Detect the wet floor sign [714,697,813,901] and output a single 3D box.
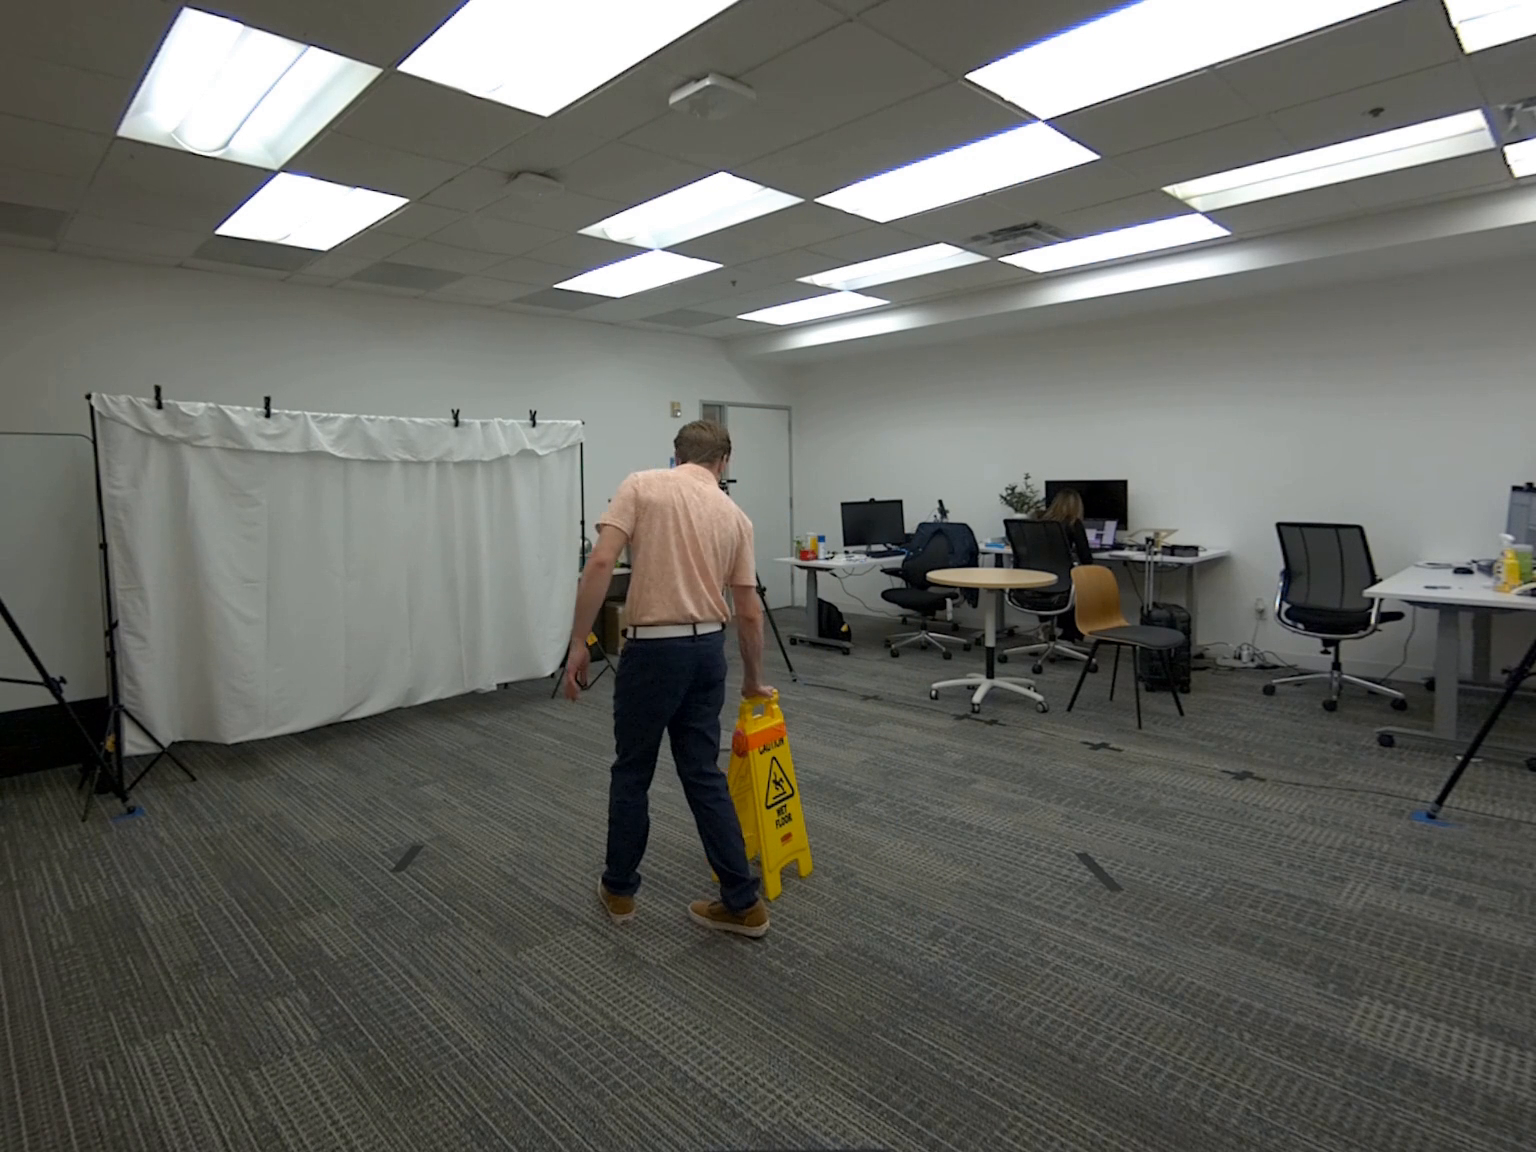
[{"bbox_3d":[-0.026,0.736,2.998,0.298,0.644,0.275,2,4,36],"label":"wet floor sign"}]
